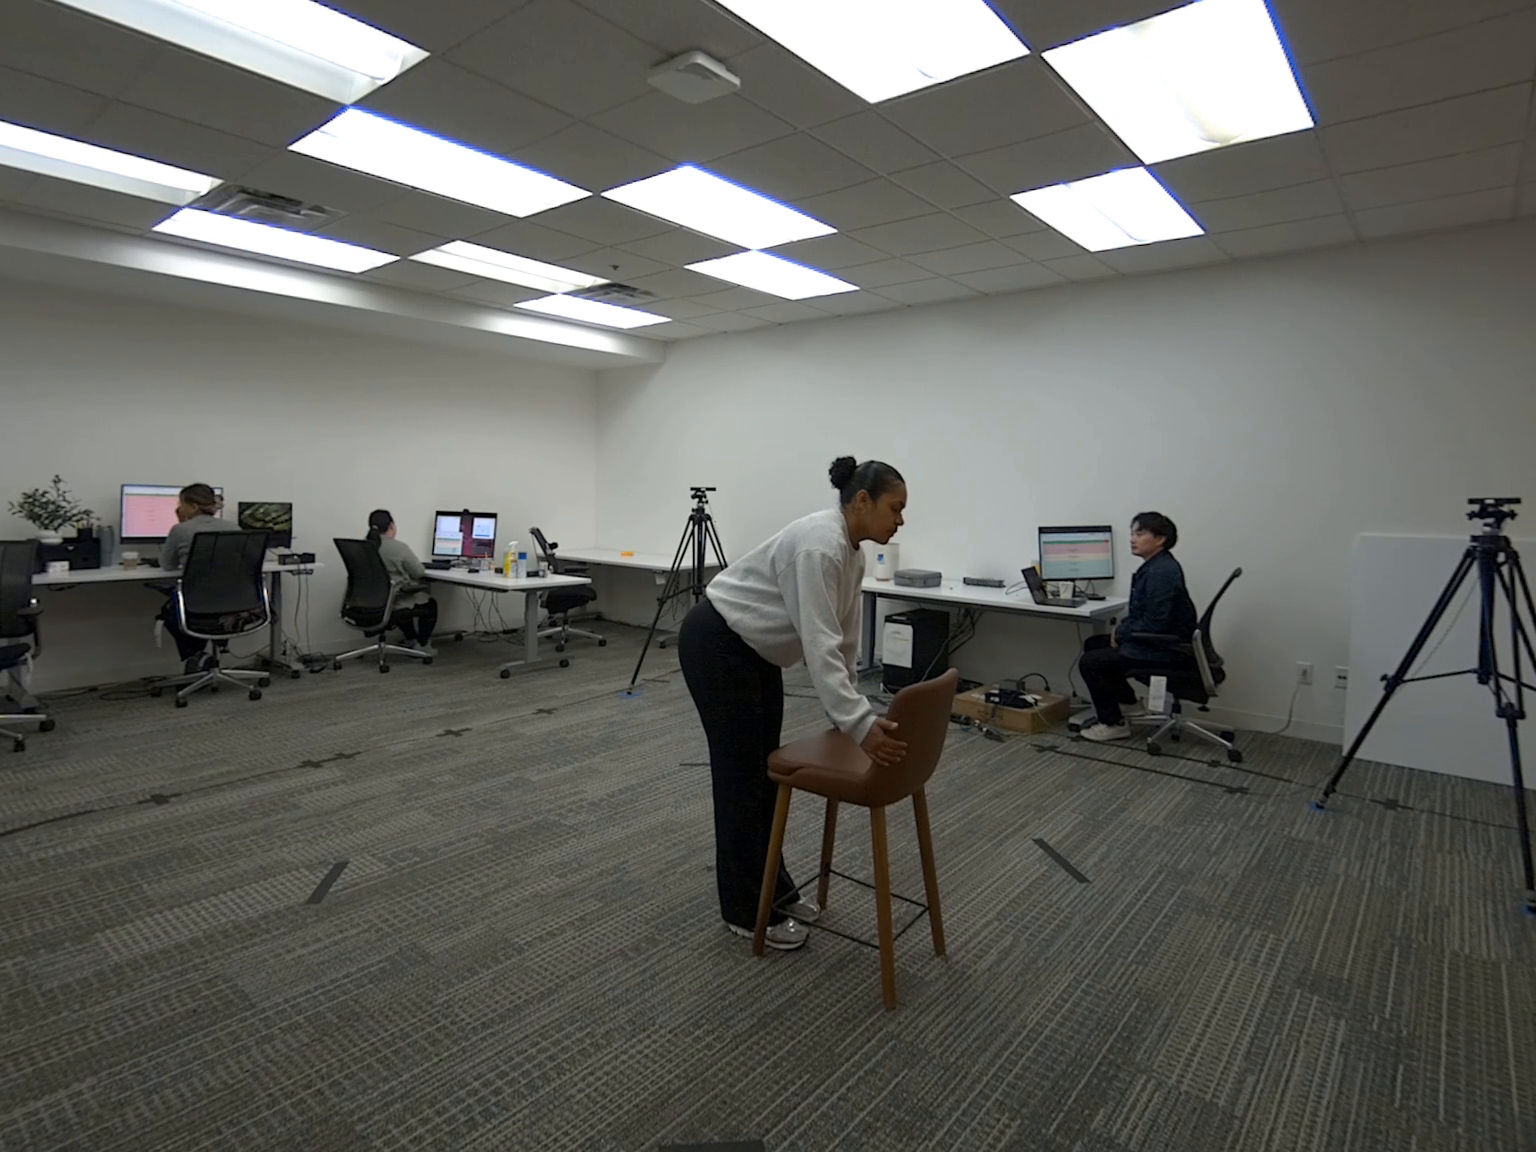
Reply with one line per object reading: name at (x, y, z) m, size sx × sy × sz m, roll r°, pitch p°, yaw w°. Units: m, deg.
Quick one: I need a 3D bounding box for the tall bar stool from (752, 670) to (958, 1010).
tall bar stool at (0.263, 0.691, 2.534) m, size 0.483 × 0.886 × 0.443 m, roll 7°, pitch 6°, yaw 35°
